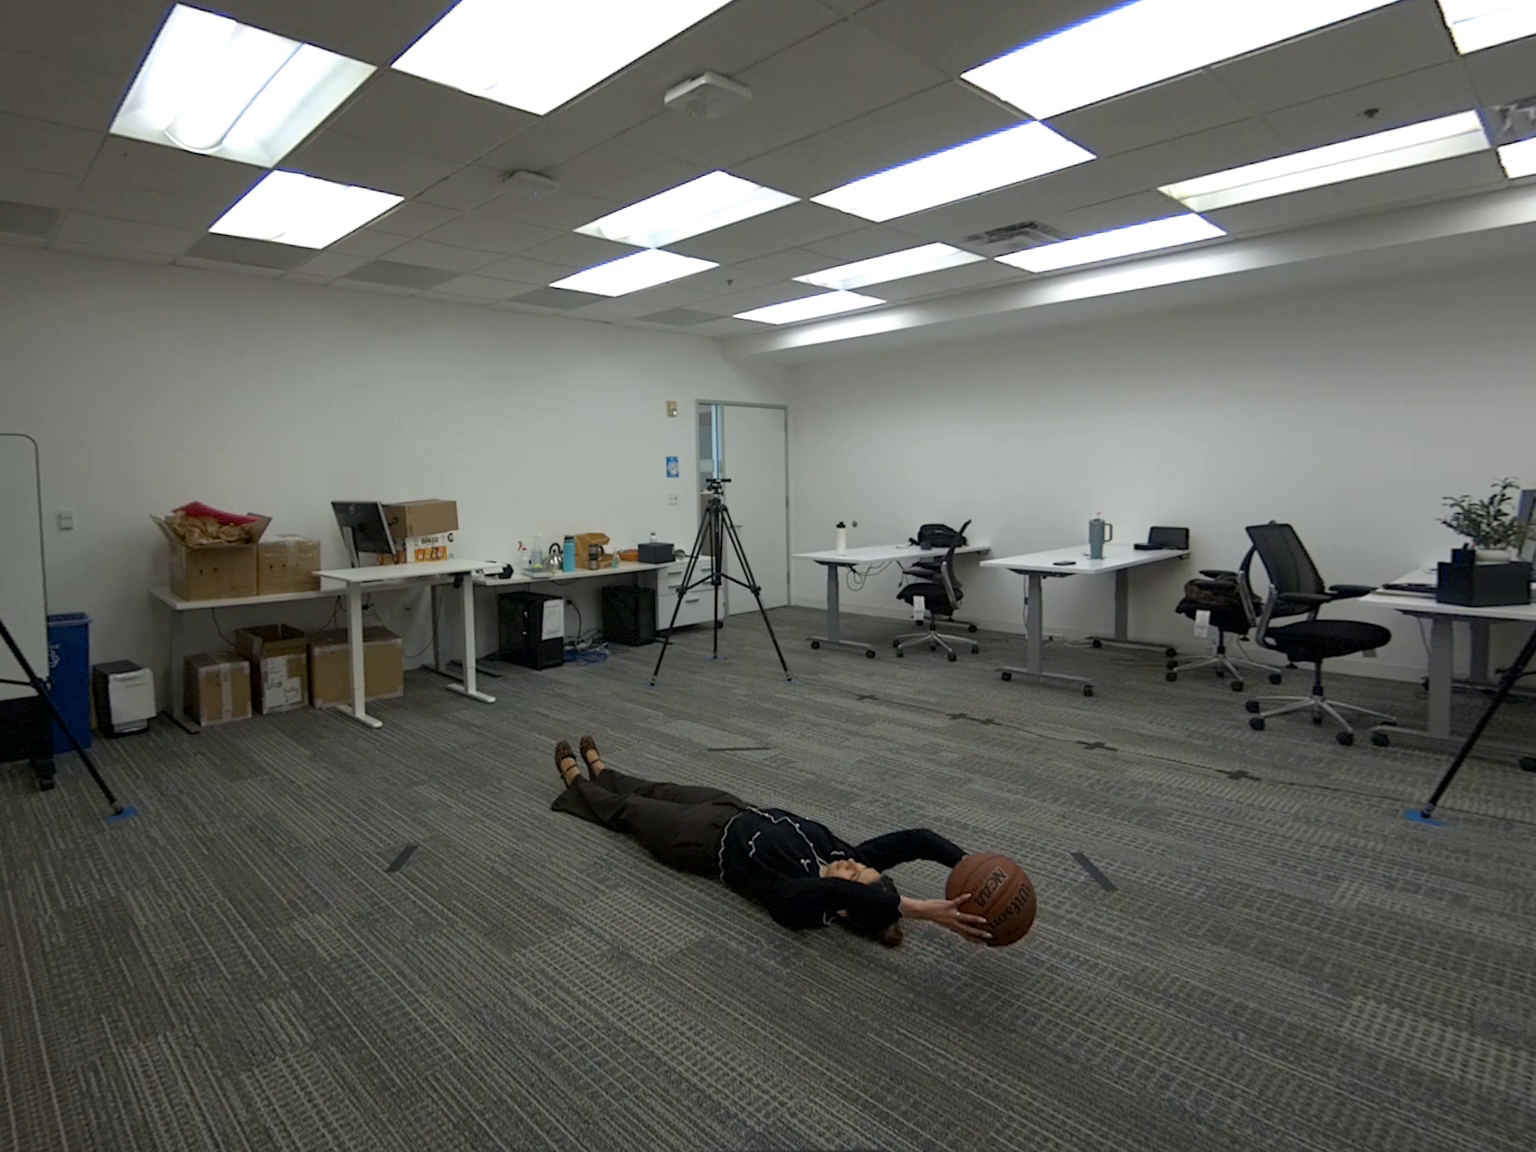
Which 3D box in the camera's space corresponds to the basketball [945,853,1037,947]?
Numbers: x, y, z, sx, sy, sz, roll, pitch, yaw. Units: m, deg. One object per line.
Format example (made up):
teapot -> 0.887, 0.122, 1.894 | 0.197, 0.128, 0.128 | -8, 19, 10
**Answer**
basketball -> 0.607, 0.871, 2.312 | 0.236, 0.235, 0.237 | -1, 5, -2
